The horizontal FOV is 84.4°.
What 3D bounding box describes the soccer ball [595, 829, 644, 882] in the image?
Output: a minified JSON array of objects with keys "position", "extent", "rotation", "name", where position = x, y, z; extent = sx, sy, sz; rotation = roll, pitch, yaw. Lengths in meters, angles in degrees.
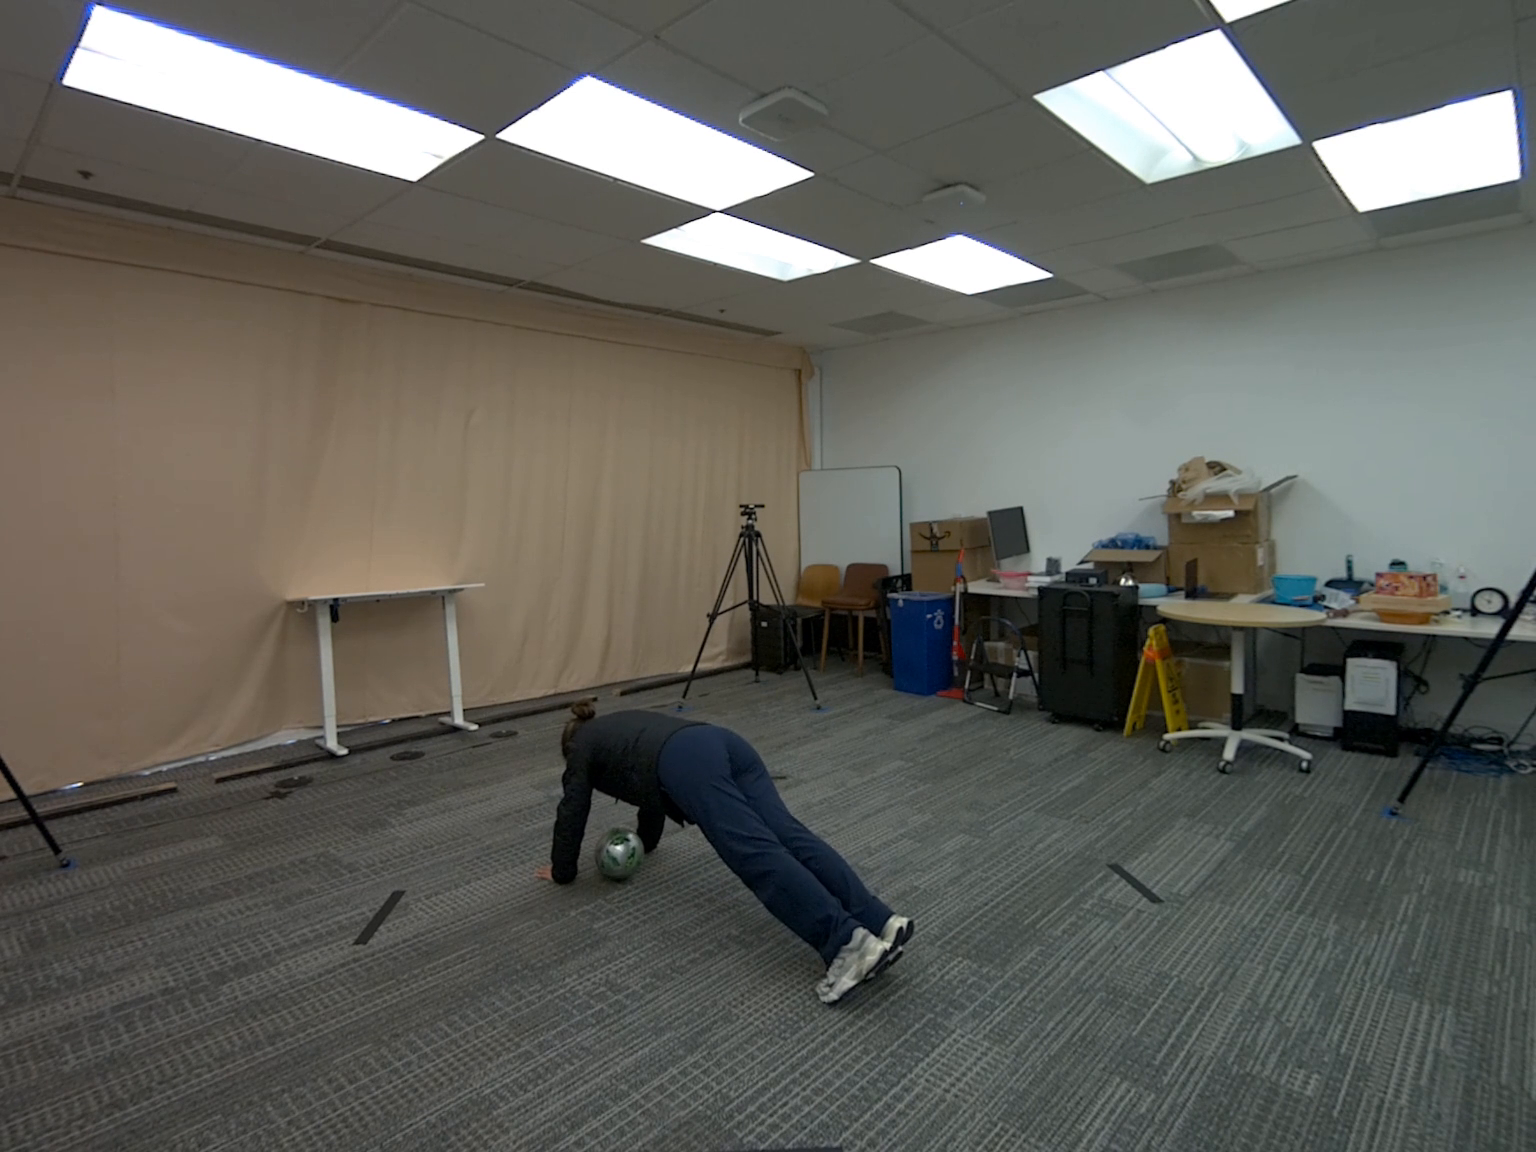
[{"position":[-0.562,1.047,3.160],"extent":[0.187,0.187,0.188],"rotation":[-1,4,-2],"name":"soccer ball"}]
